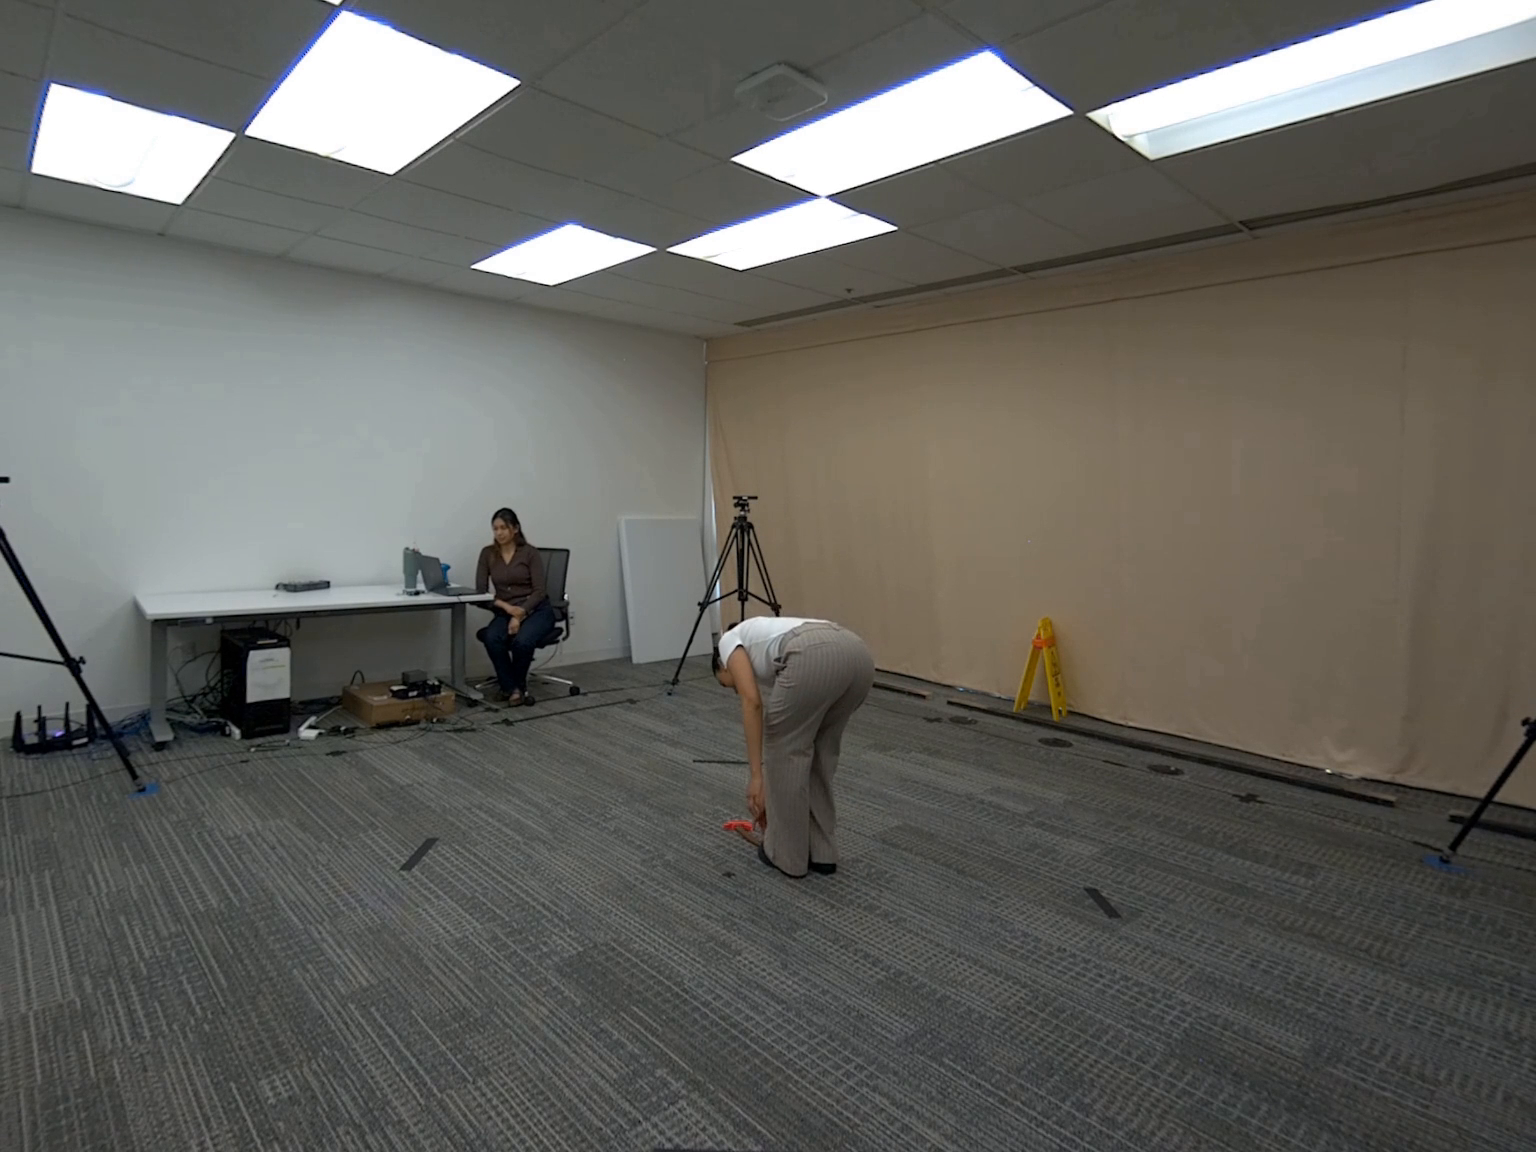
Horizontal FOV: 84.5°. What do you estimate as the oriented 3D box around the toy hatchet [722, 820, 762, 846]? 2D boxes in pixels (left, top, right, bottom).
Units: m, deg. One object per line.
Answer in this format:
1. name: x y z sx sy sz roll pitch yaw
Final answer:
1. toy hatchet: -0.070 1.059 3.463 0.128 0.029 0.277 -1 7 -41
